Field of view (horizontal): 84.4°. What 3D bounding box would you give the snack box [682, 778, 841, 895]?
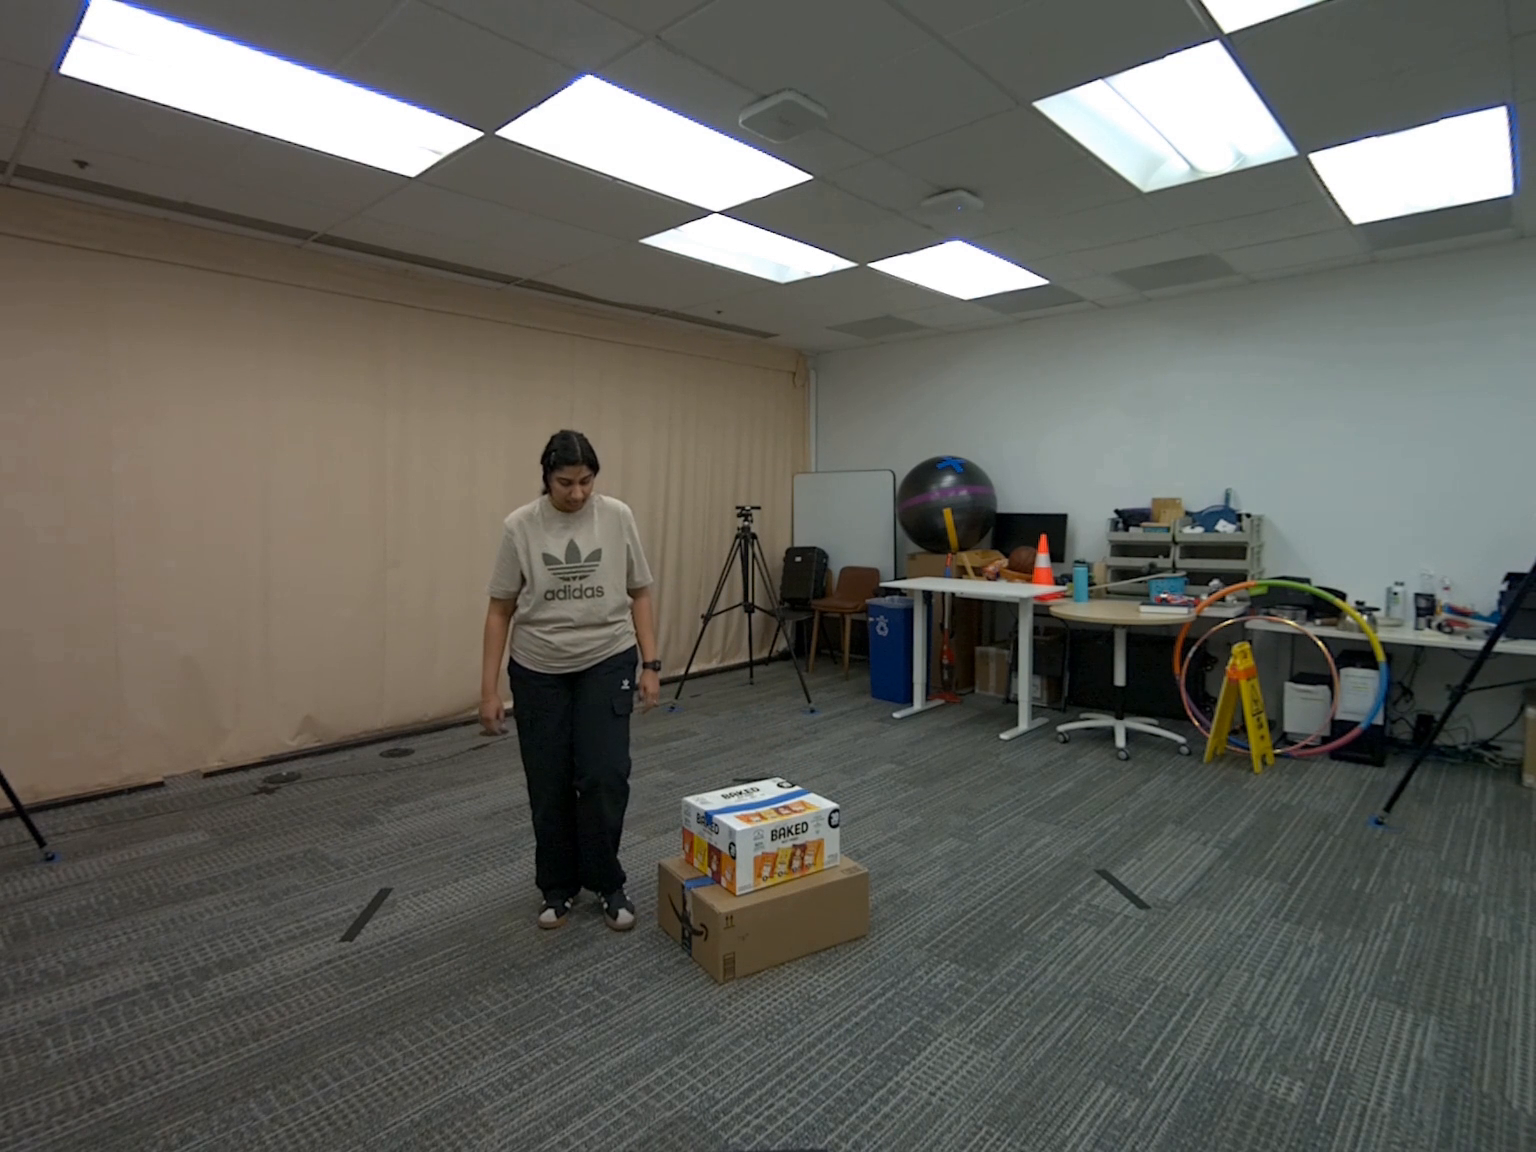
[{"bbox_3d":[-0.021,0.848,2.776,0.394,0.205,0.351,-3,5,-33],"label":"snack box"}]
